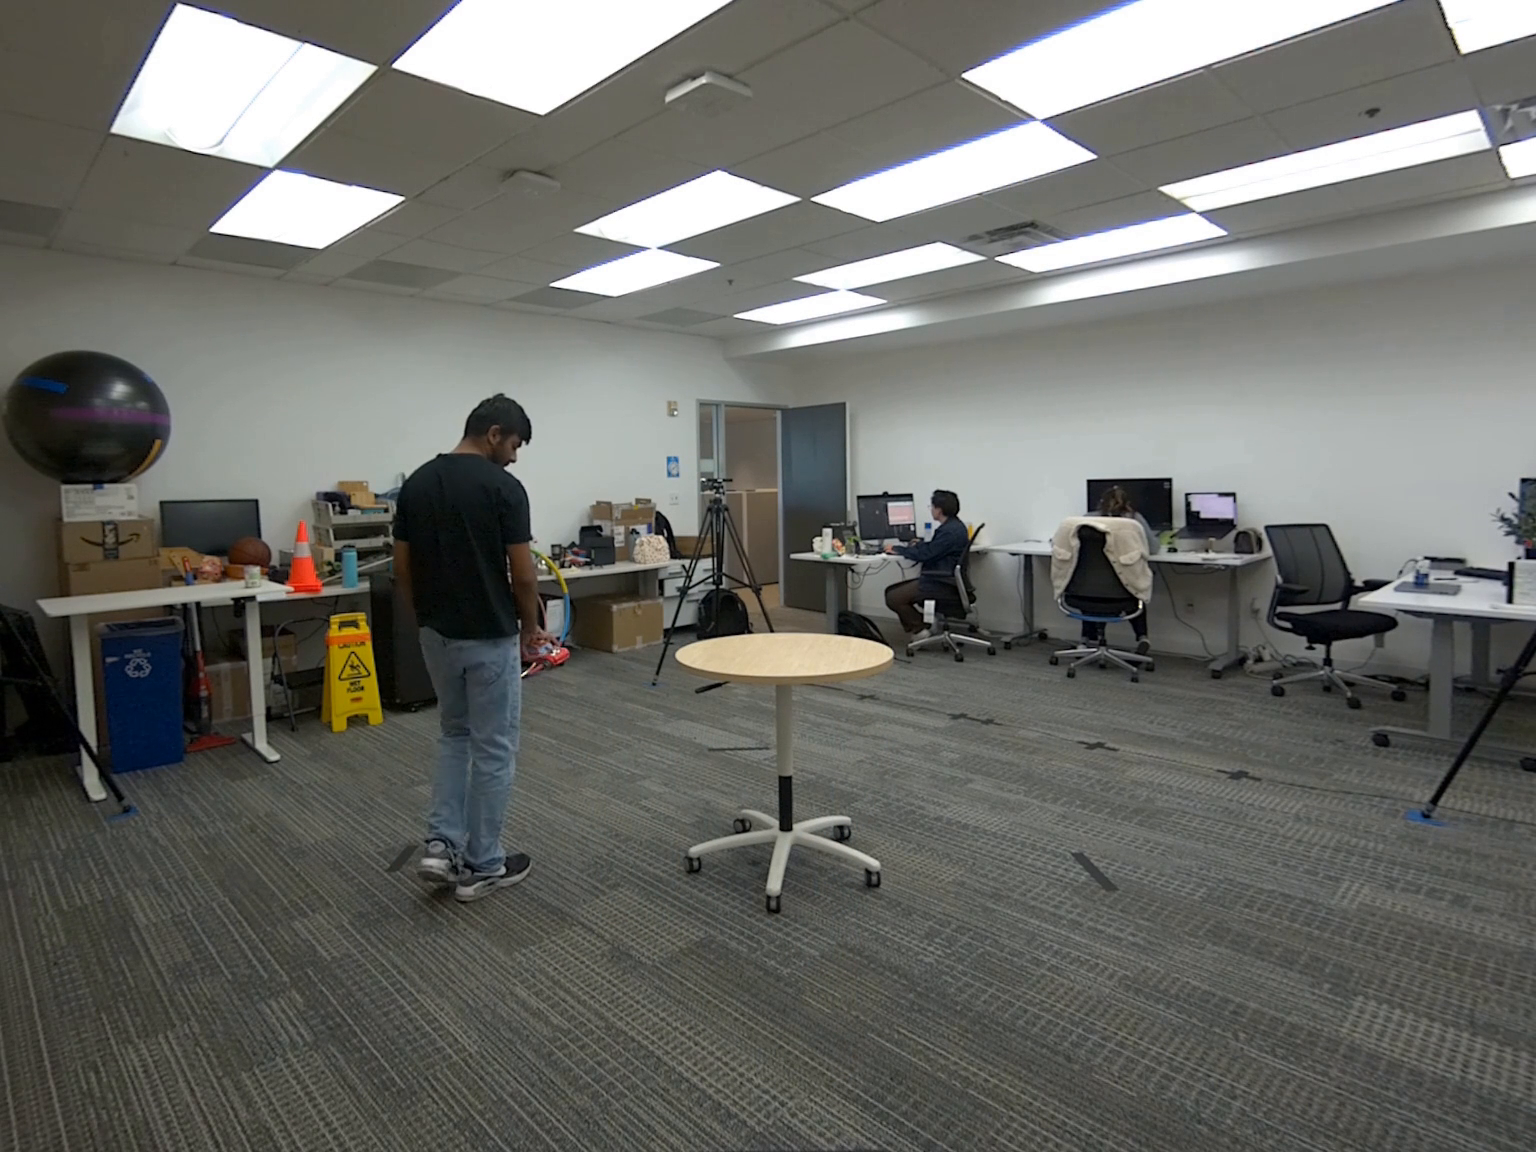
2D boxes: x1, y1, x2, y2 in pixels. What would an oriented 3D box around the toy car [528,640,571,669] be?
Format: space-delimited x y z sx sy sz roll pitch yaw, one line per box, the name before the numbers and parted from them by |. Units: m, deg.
toy car | -0.860 0.285 3.118 0.260 0.082 0.129 17 18 19
